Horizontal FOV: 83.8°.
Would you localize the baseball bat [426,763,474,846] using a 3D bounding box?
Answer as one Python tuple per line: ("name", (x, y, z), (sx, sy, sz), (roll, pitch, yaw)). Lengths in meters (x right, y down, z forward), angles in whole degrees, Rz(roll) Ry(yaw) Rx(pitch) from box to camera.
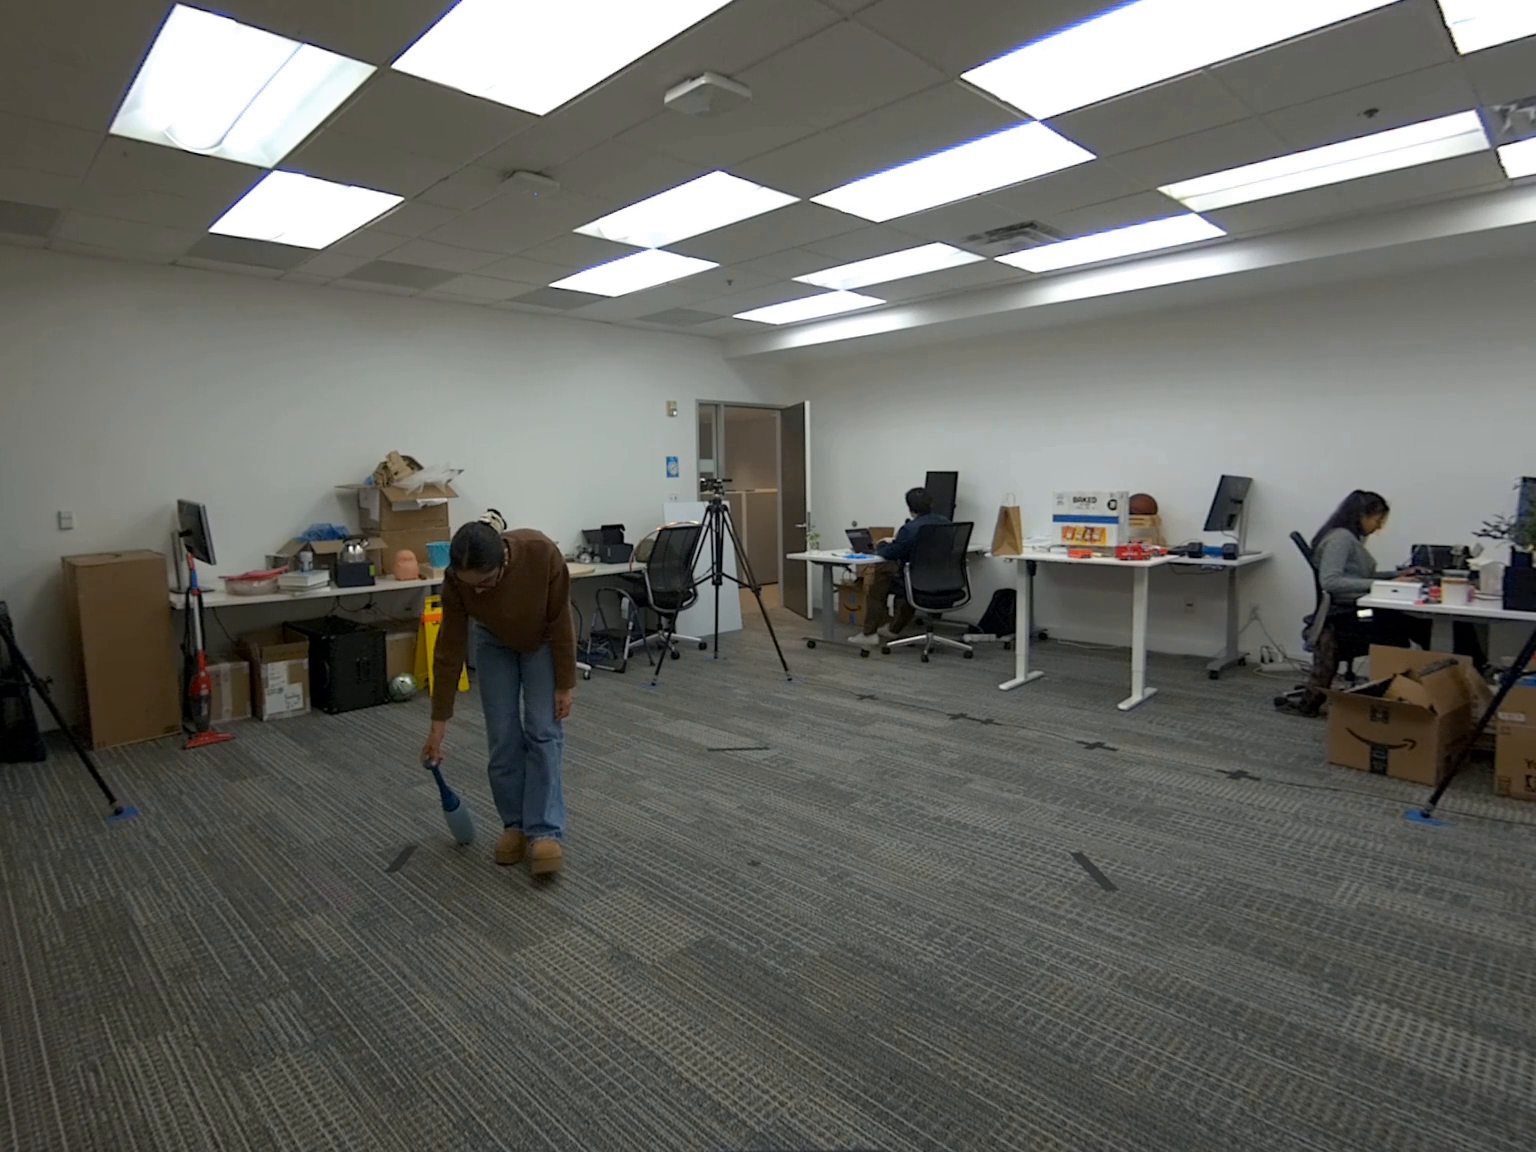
("baseball bat", (-1.175, 0.838, 3.169), (0.089, 0.528, 0.091), (0, 45, -2))
